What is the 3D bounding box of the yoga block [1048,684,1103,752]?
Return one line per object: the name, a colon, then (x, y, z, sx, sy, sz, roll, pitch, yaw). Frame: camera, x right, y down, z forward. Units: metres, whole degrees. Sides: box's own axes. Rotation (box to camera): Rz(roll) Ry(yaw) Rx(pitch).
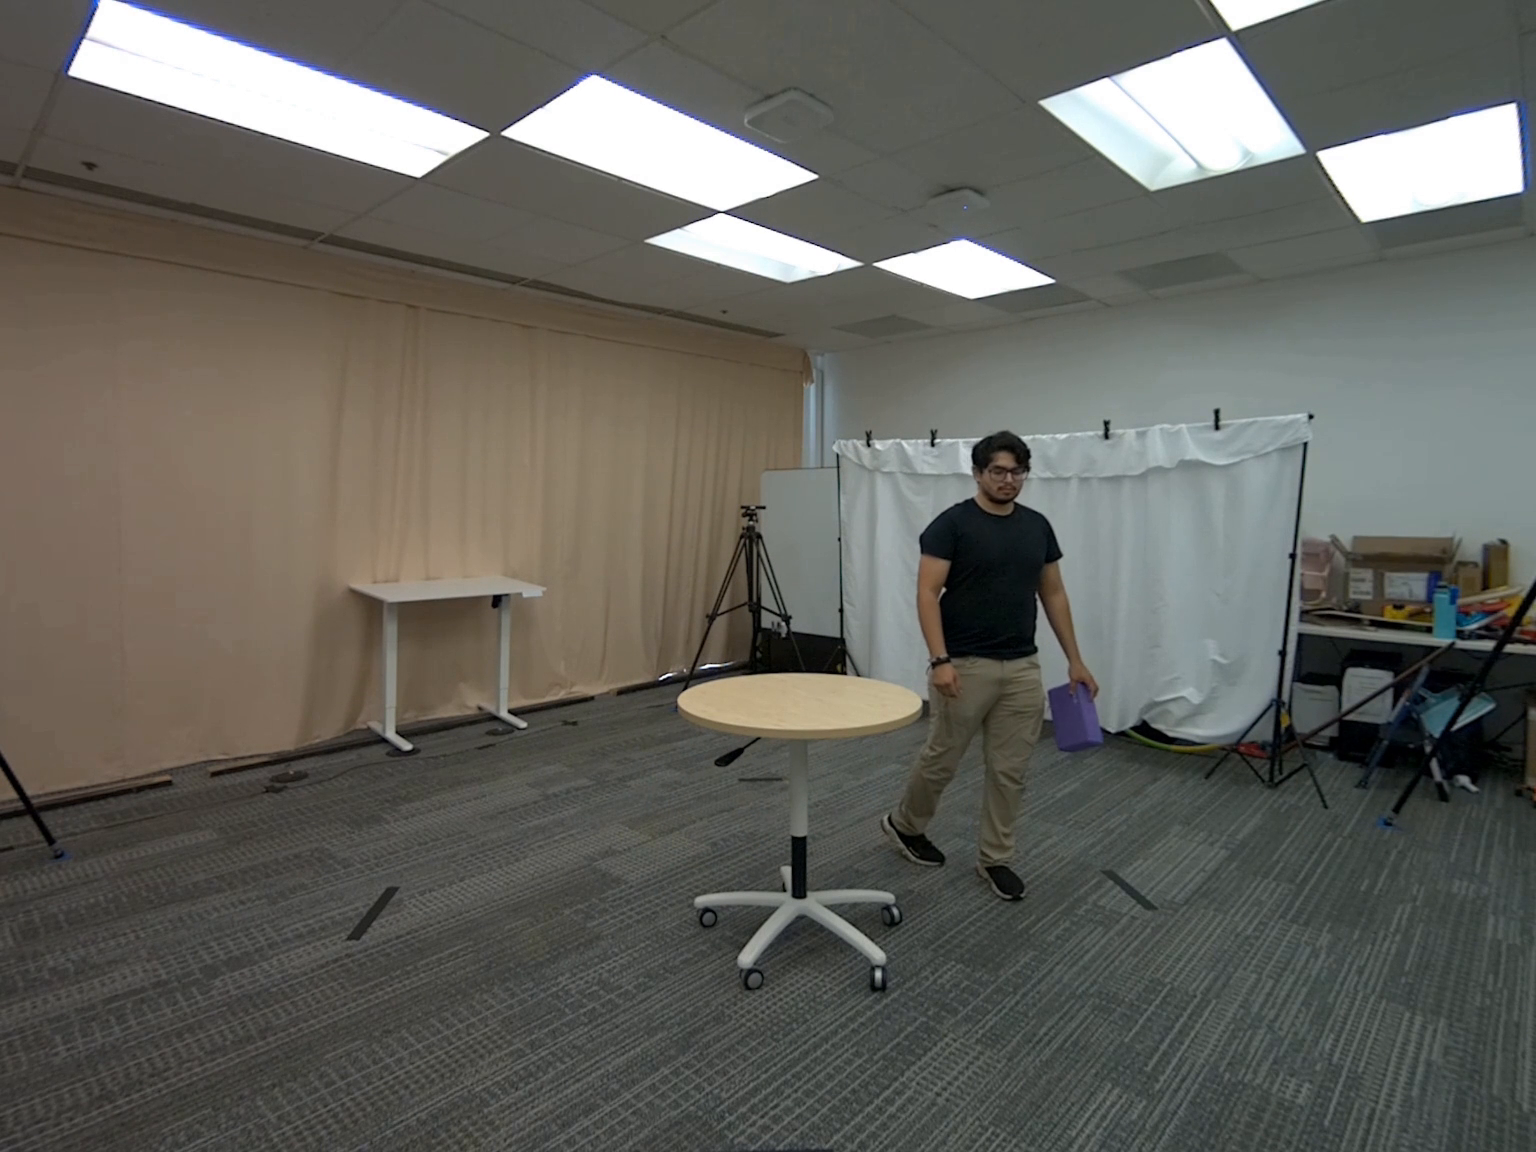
yoga block: (1.112, 0.509, 3.031, 0.074, 0.232, 0.151, 12, -27, -26)
